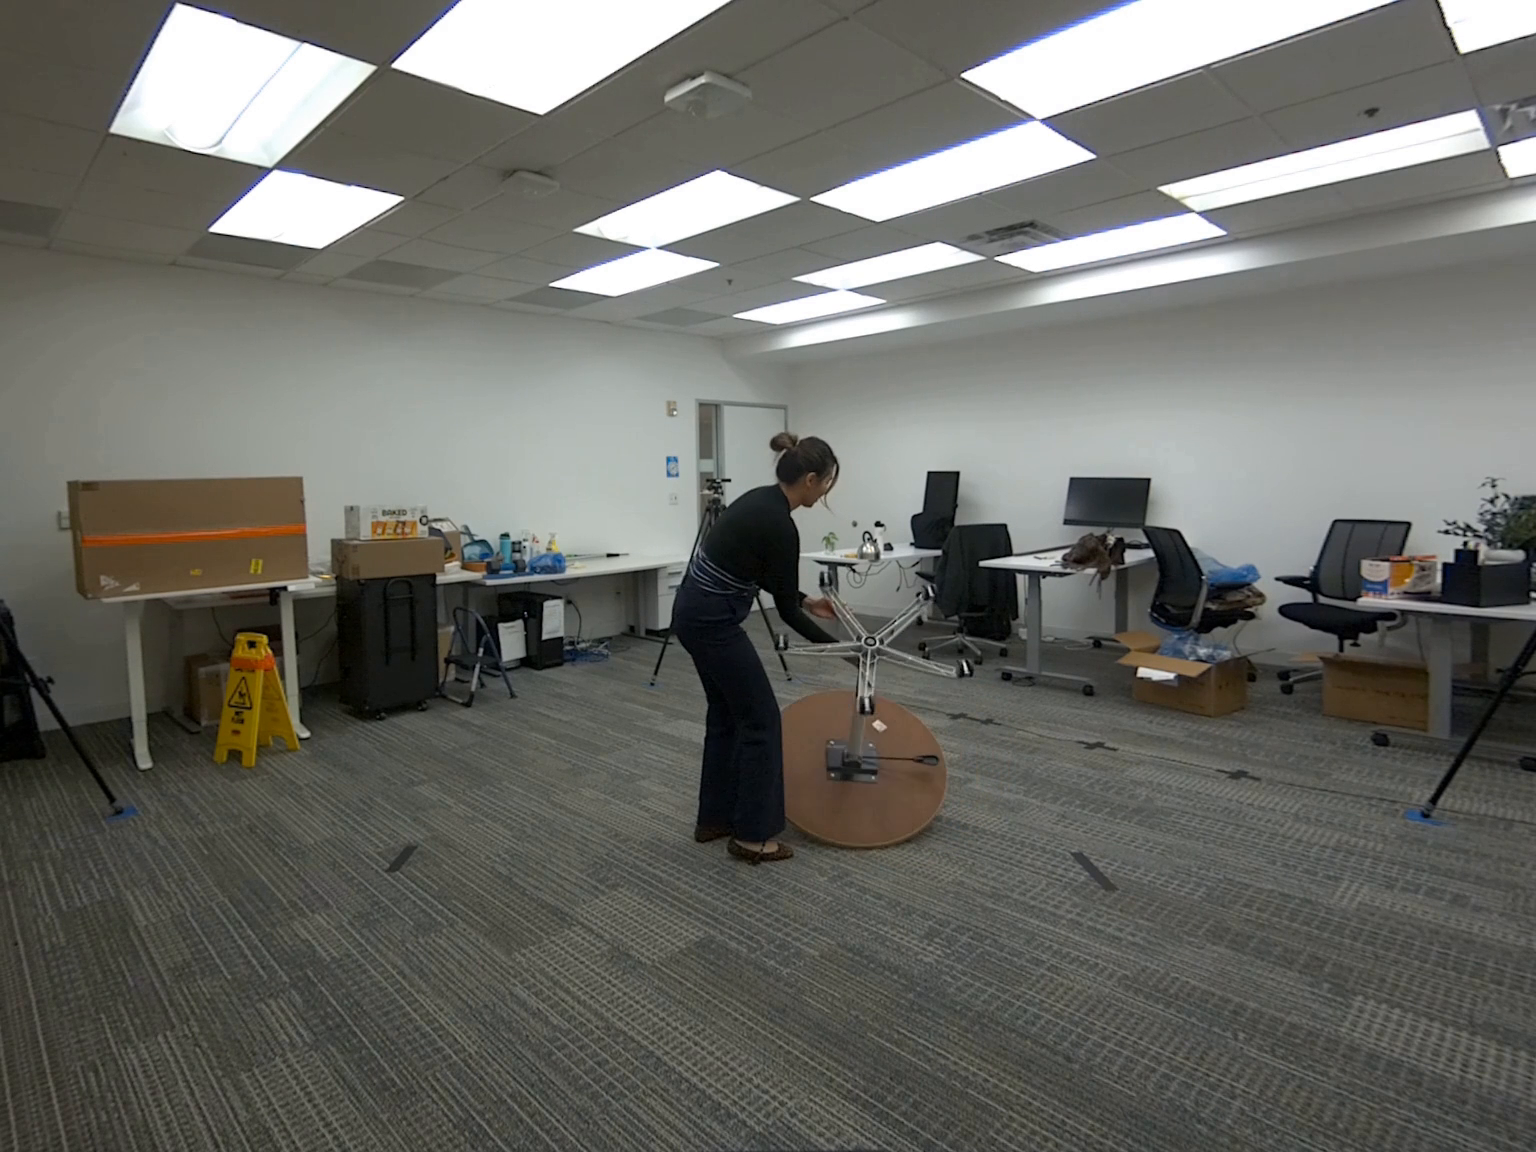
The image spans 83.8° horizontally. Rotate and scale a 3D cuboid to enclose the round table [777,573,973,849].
[{"bbox_3d":[0.353,0.482,3.269,0.763,0.773,0.785,0,39,-2],"label":"round table"}]
